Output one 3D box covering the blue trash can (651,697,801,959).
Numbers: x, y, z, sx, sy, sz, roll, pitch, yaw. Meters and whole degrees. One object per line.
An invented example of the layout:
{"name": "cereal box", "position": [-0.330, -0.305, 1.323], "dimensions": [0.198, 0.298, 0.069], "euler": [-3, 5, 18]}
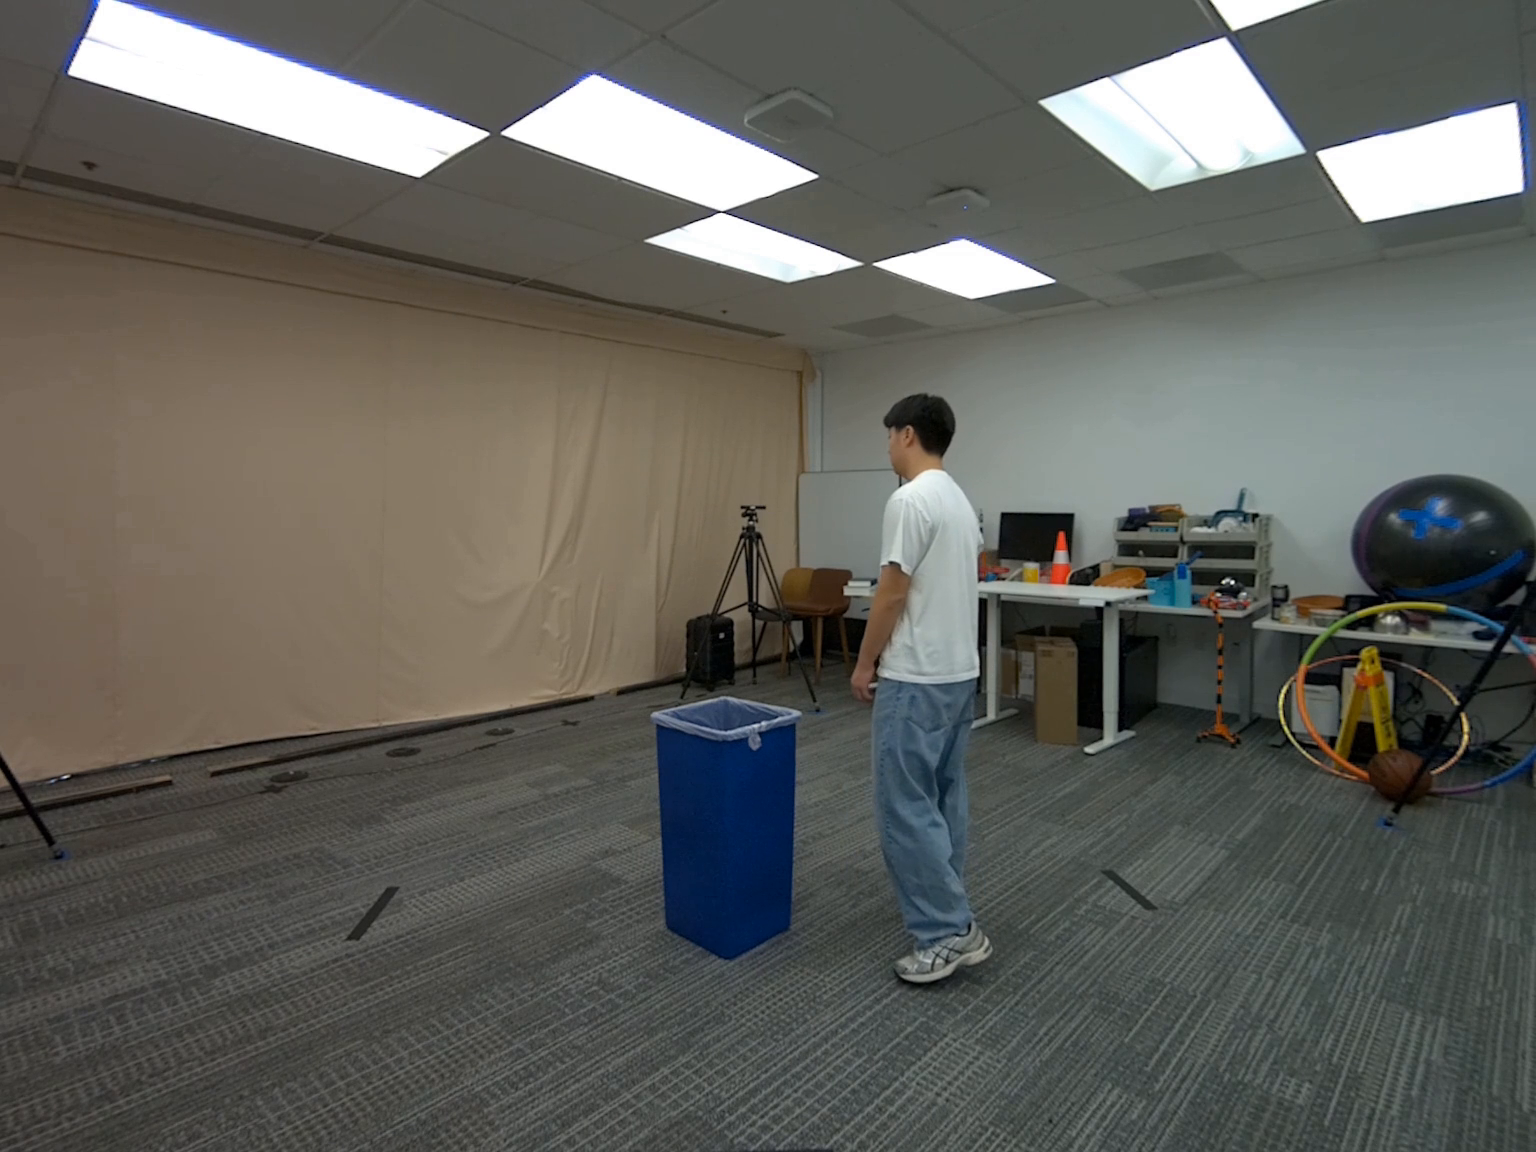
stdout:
{"name": "blue trash can", "position": [-0.139, 0.807, 2.771], "dimensions": [0.386, 0.712, 0.366], "euler": [3, 4, 43]}
